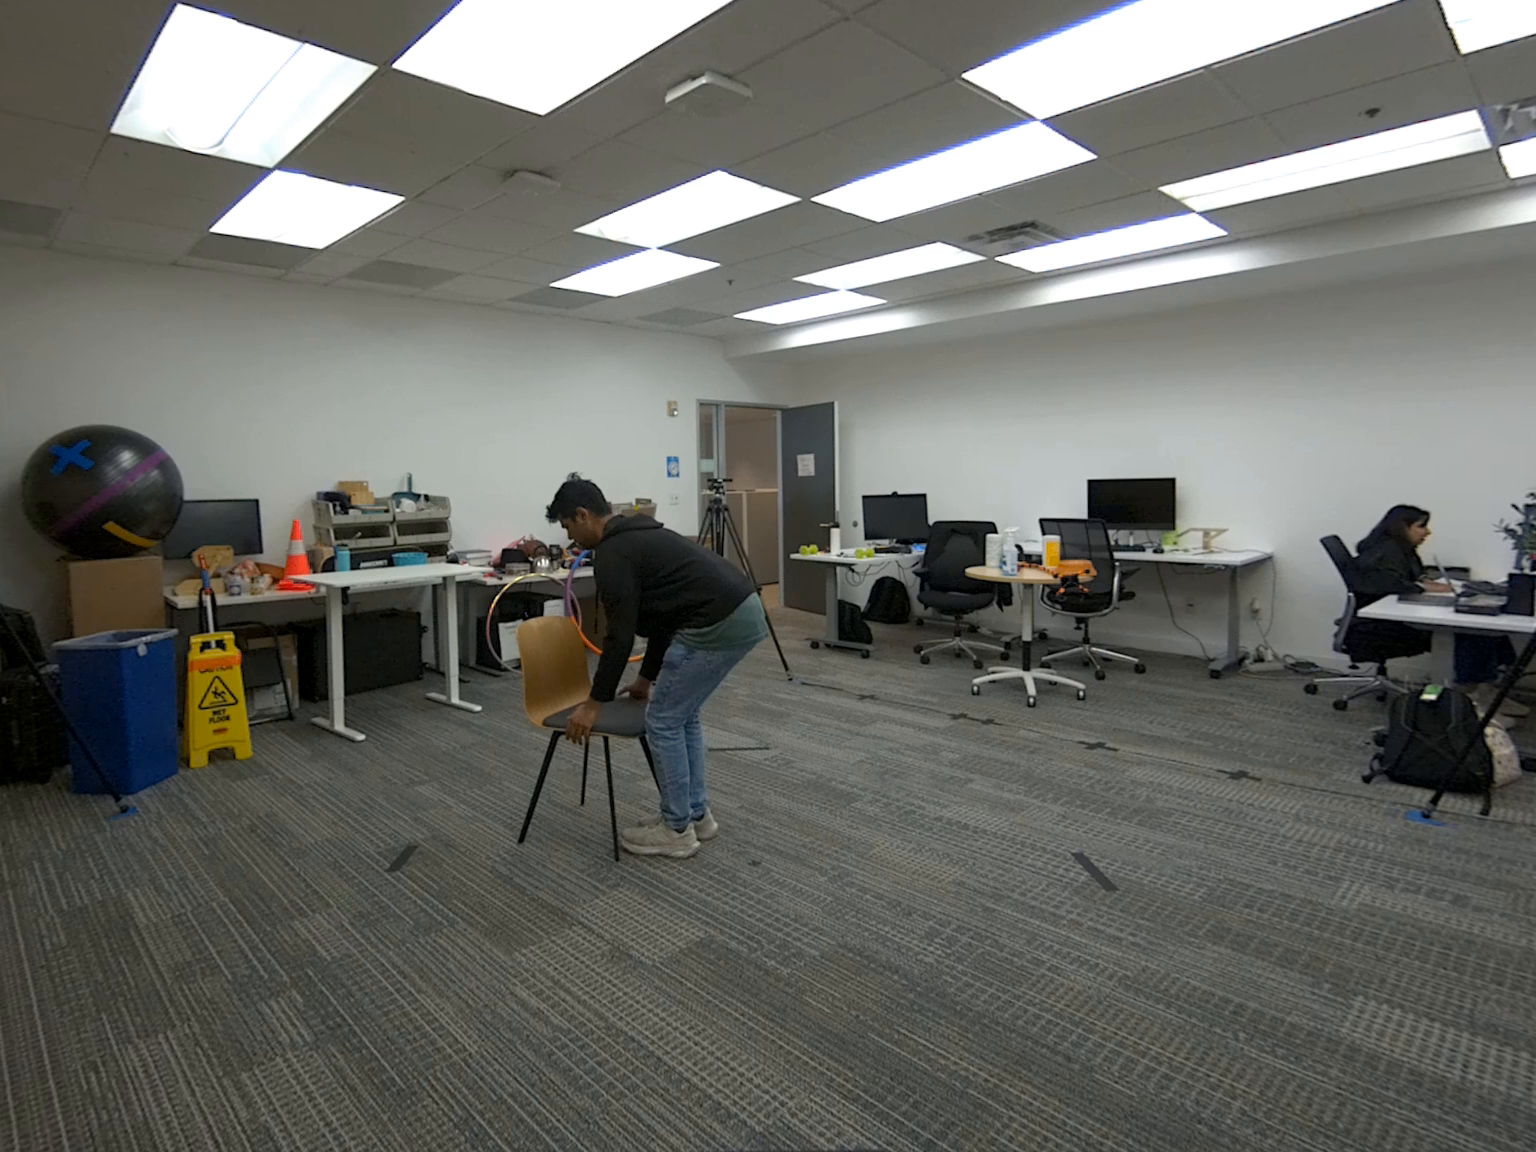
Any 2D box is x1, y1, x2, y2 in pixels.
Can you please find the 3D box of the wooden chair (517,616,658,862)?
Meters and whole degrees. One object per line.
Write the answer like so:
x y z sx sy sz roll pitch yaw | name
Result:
-0.680 0.590 3.390 0.534 0.876 0.469 -4 2 23 | wooden chair
